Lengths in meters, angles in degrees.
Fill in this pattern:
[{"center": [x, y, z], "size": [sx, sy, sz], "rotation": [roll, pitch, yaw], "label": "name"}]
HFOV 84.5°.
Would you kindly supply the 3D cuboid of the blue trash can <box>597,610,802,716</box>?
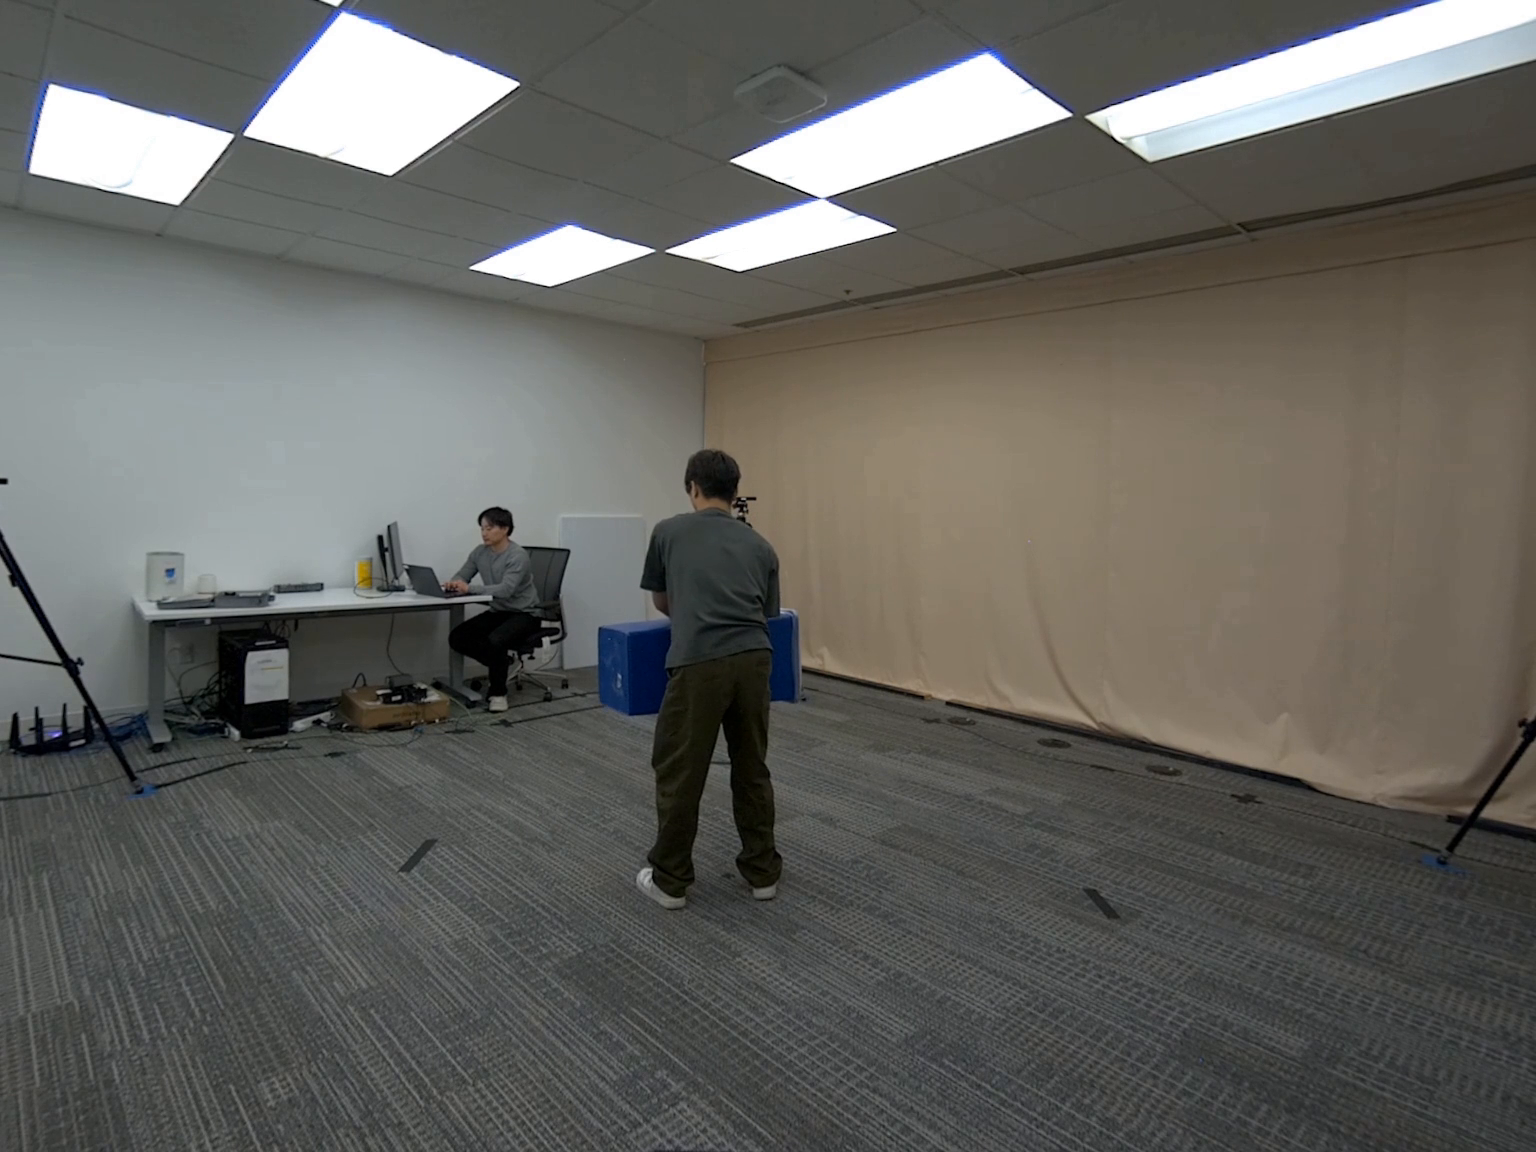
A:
[{"center": [-0.281, 0.338, 3.283], "size": [0.700, 0.373, 0.386], "rotation": [-4, 3, -29], "label": "blue trash can"}]
